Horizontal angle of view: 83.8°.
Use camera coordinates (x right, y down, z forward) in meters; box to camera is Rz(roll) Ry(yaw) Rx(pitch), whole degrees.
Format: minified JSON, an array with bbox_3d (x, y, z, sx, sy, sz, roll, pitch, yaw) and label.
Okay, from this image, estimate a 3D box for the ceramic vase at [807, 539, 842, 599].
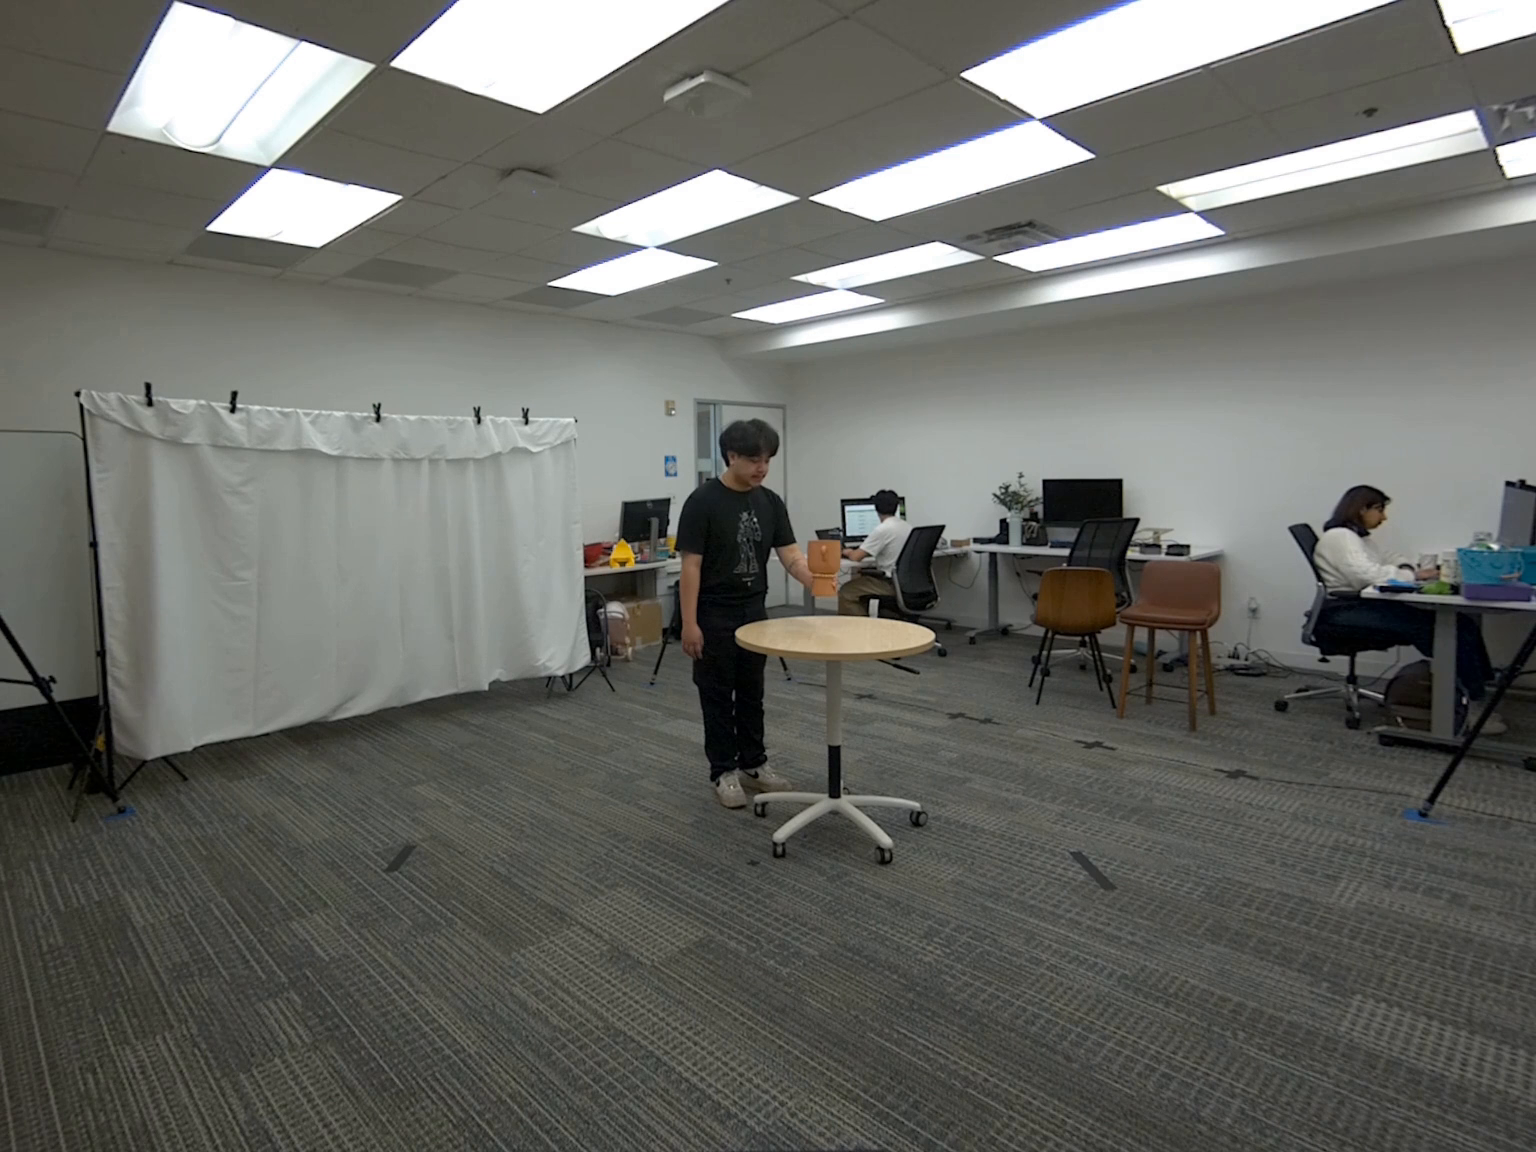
[{"bbox_3d":[0.229,-0.030,3.423,0.154,0.220,0.139,1,1,-44],"label":"ceramic vase"}]
